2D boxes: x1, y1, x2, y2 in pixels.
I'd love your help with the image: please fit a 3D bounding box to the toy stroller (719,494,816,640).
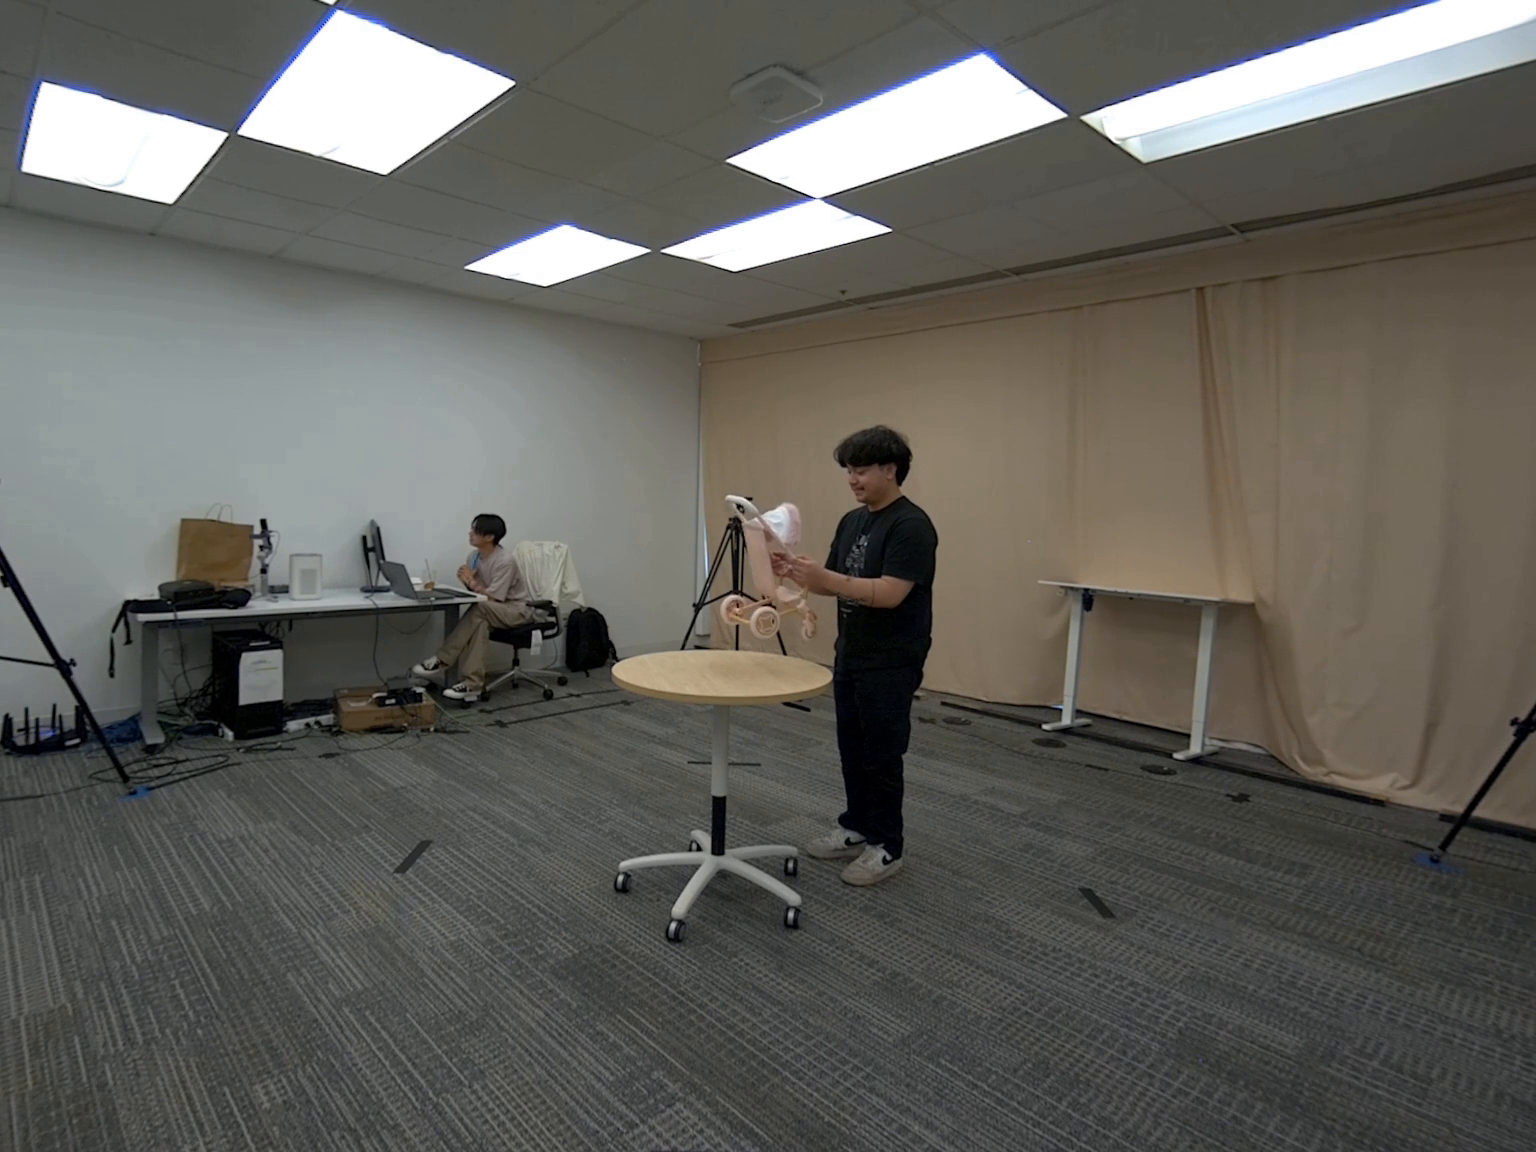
[{"bbox_3d":[0.016,-0.015,2.981,0.336,0.533,0.287,-2,6,-21],"label":"toy stroller"}]
